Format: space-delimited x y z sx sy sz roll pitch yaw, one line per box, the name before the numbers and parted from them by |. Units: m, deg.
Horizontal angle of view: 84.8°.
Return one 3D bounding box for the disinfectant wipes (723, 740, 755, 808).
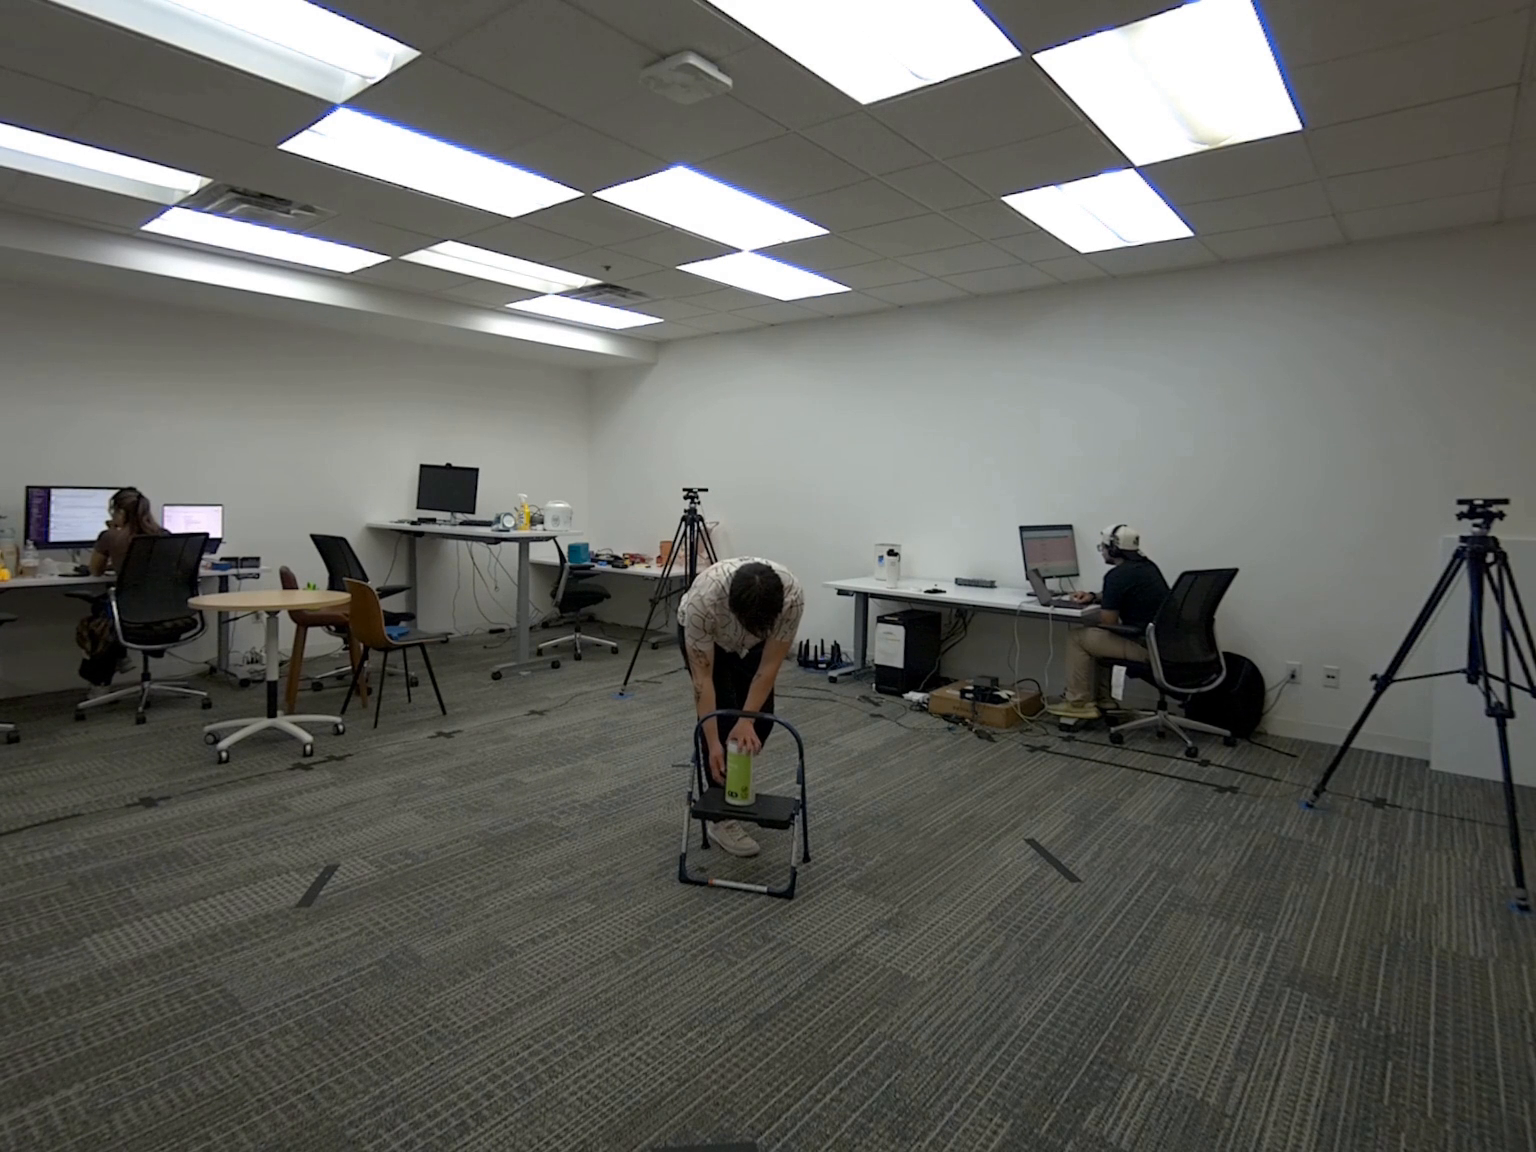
disinfectant wipes | -0.108 0.709 3.078 0.118 0.217 0.118 2 1 -2
